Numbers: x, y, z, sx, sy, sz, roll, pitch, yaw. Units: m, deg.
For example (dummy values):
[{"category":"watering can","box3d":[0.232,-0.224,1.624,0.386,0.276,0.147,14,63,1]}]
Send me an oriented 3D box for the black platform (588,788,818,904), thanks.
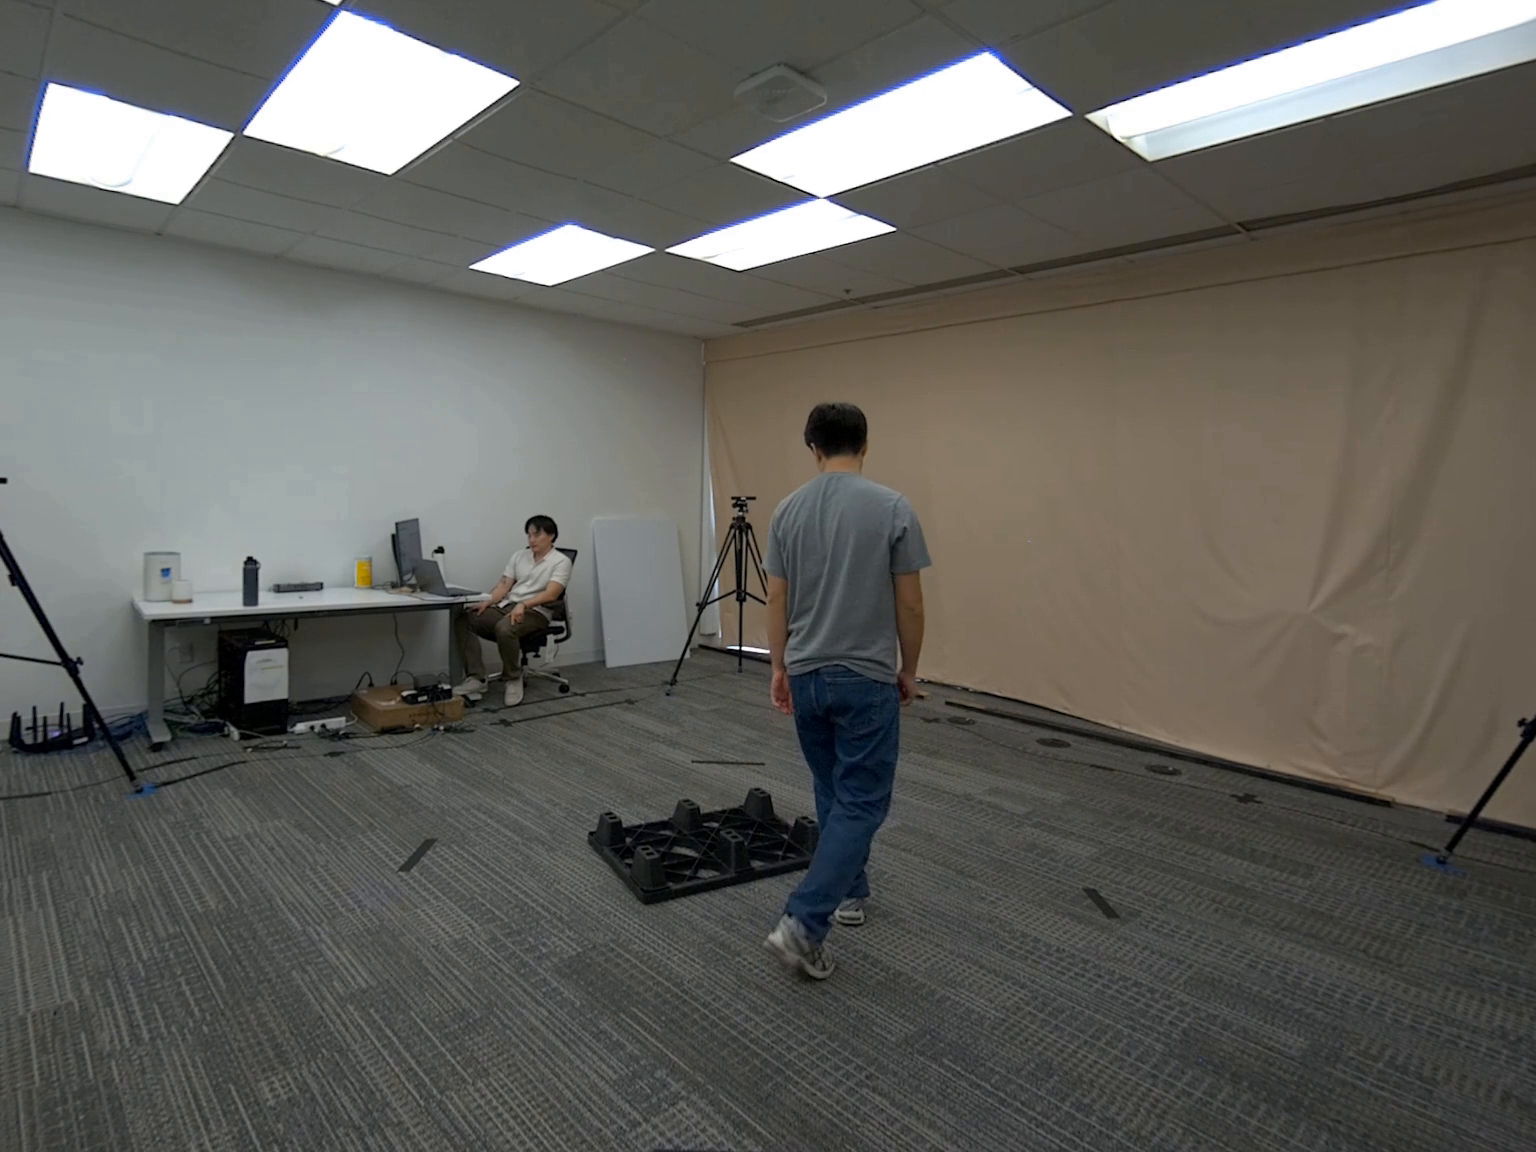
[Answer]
[{"category":"black platform","box3d":[-0.241,1.020,3.302,0.789,0.143,0.619,-2,5,-30]}]
